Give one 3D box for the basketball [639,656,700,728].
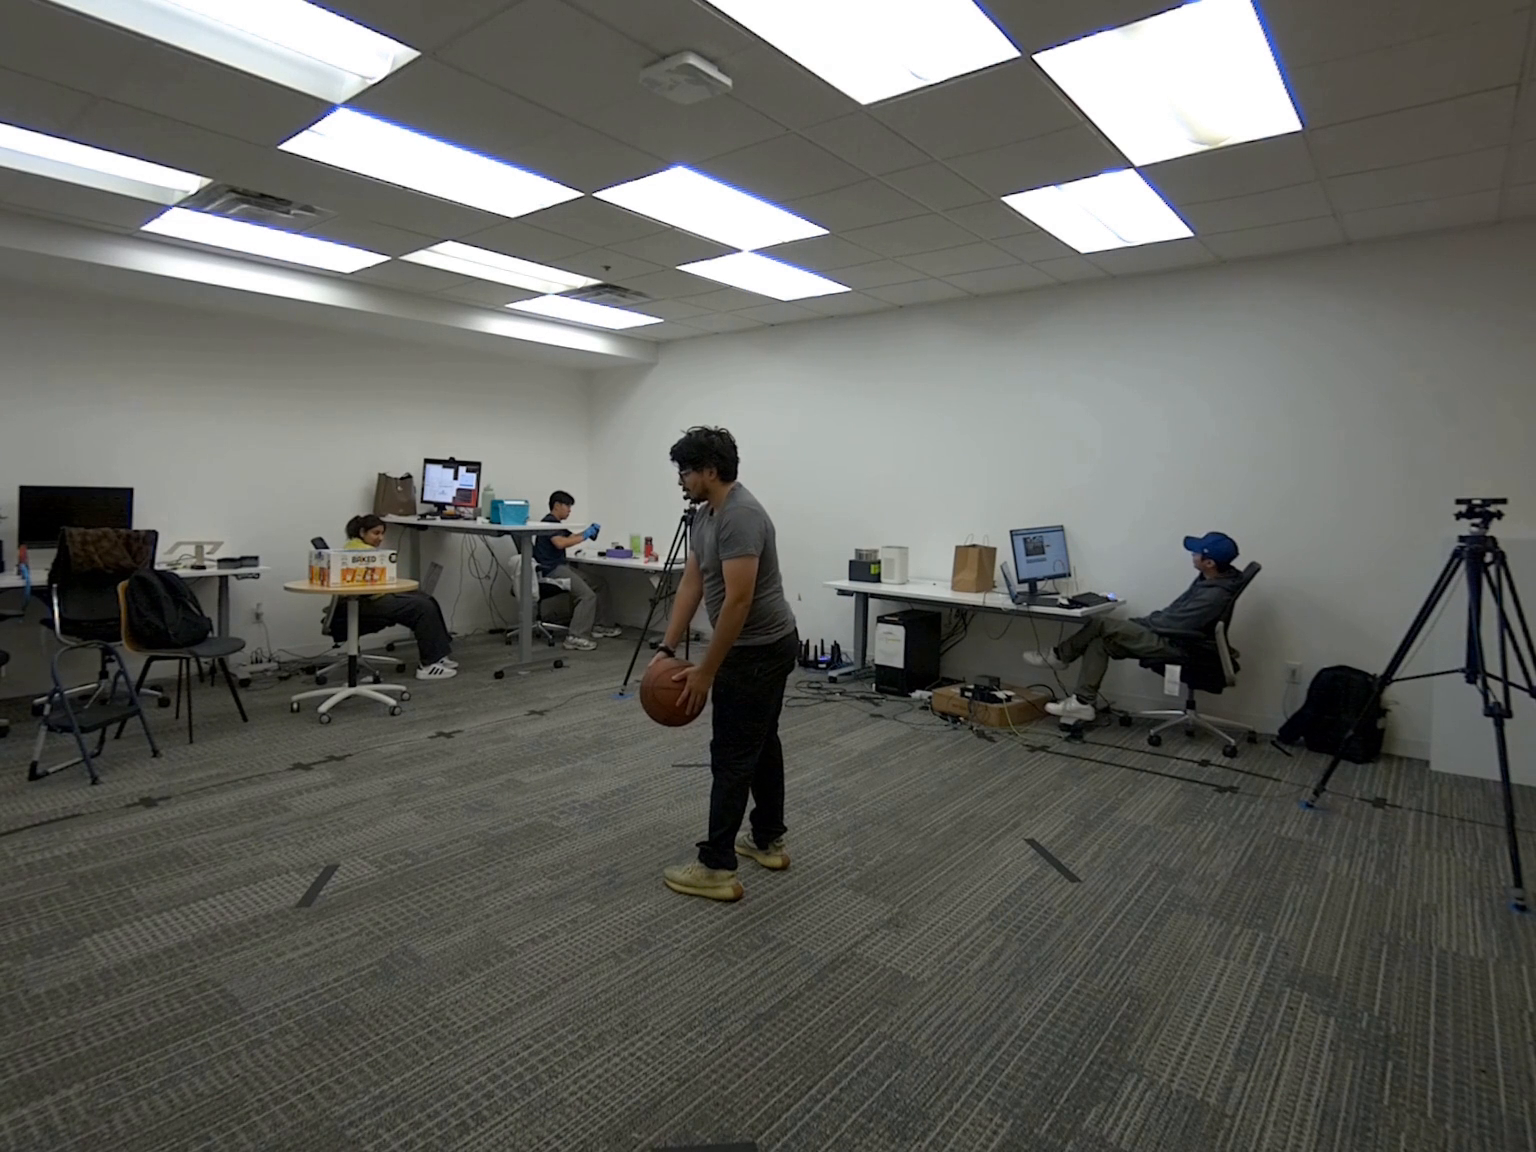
[{"bbox_3d":[-0.341,0.399,2.984,0.235,0.235,0.237,1,4,-2],"label":"basketball"}]
